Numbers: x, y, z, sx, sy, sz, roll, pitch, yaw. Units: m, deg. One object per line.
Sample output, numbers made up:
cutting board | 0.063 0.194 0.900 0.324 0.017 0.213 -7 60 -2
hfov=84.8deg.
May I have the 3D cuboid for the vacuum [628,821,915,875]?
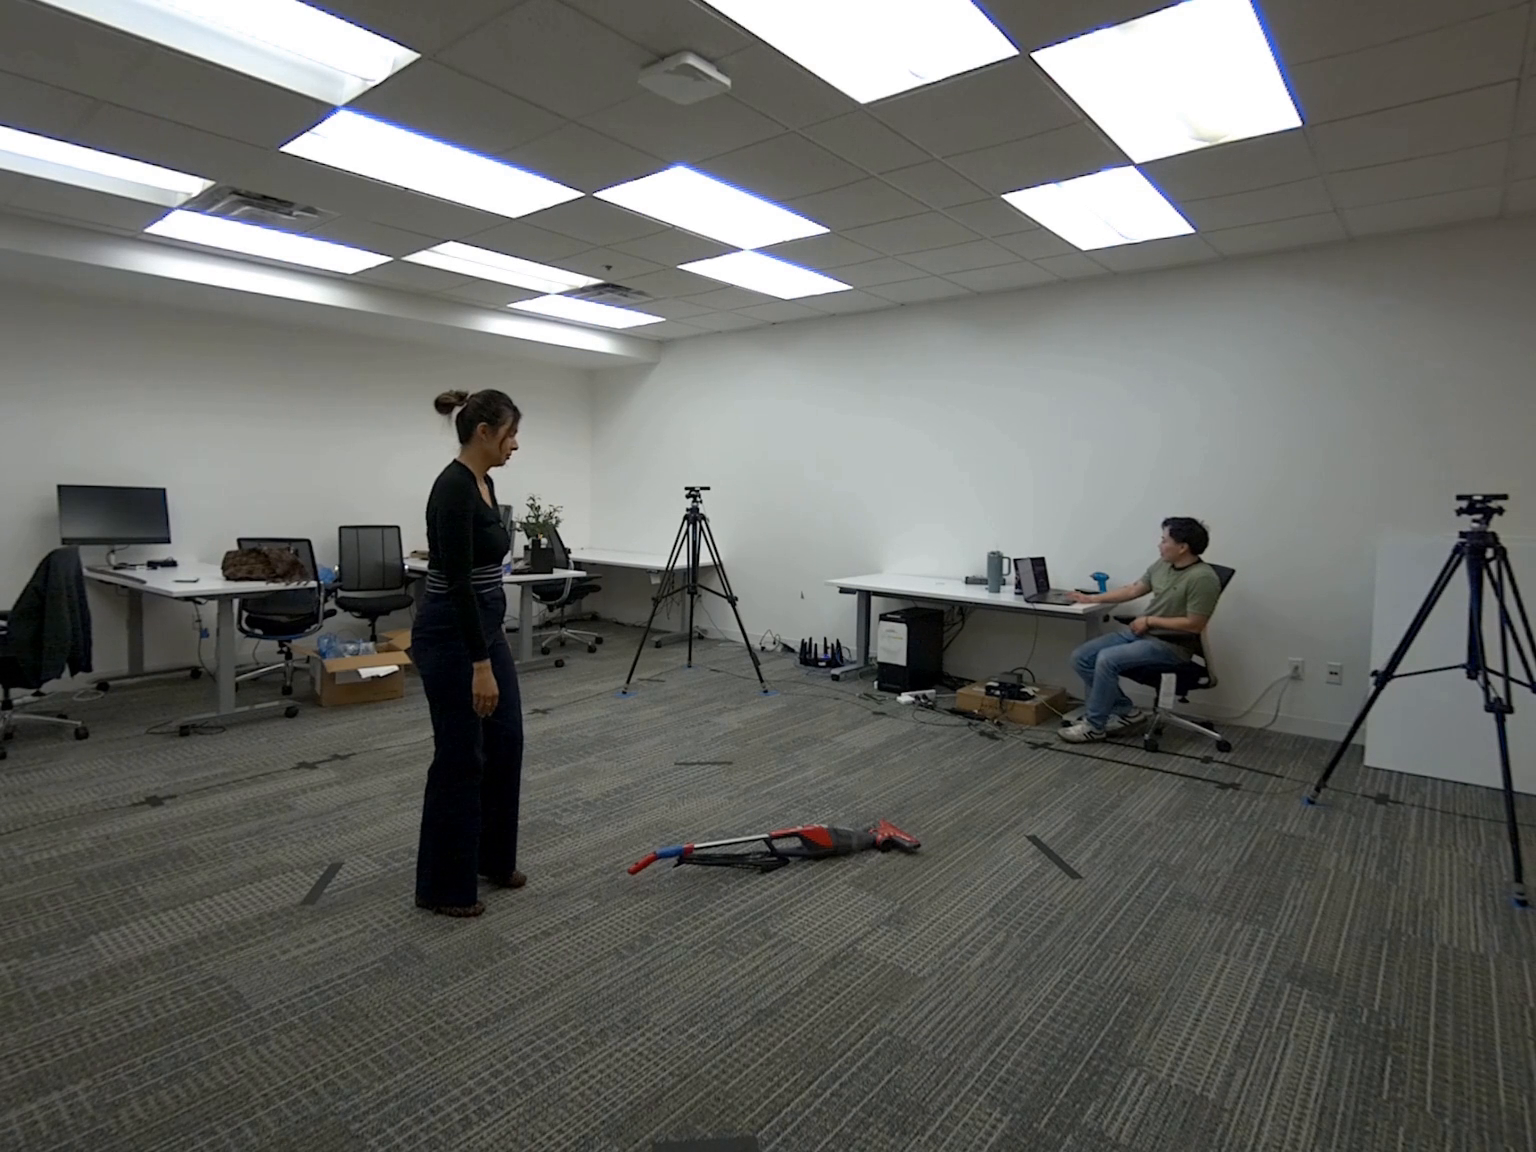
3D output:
vacuum | 0.005 1.007 3.141 1.025 0.144 0.259 1 2 -24
